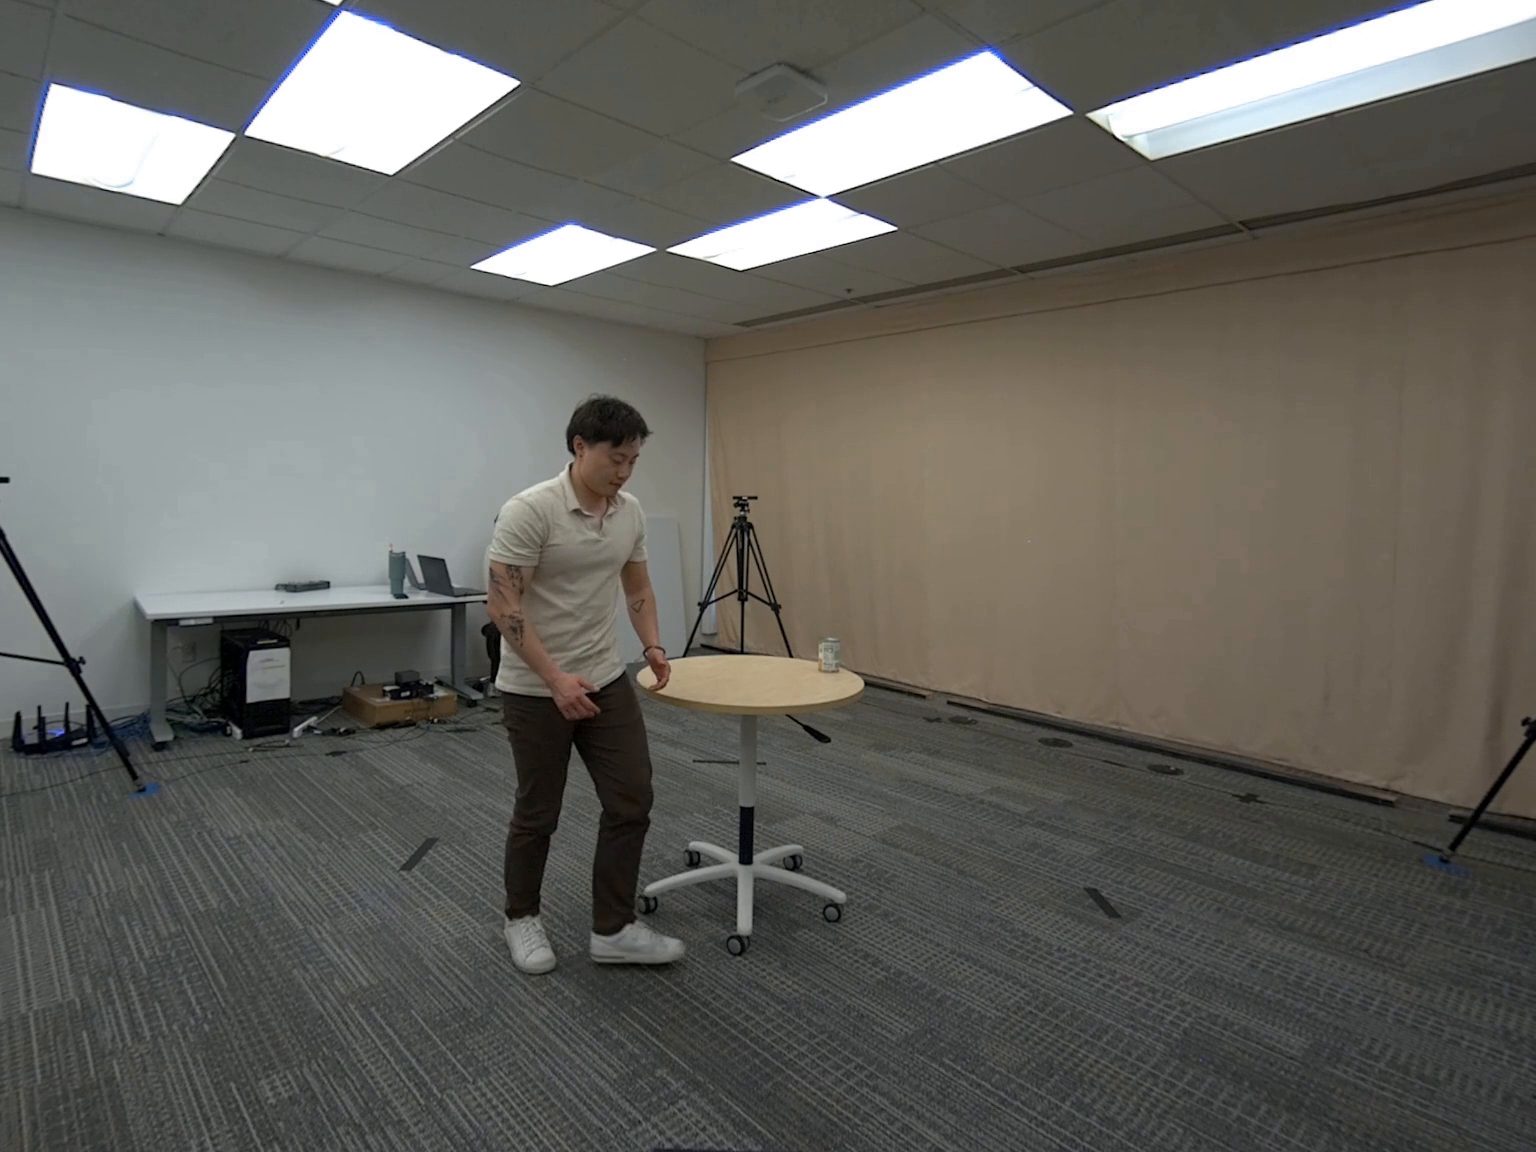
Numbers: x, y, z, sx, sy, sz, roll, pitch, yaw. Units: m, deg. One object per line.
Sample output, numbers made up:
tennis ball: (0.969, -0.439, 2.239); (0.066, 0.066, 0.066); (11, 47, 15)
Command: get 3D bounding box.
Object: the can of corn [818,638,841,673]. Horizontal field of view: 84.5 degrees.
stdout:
can of corn: (0.207, 0.282, 2.985); (0.074, 0.111, 0.074); (2, 3, -2)
